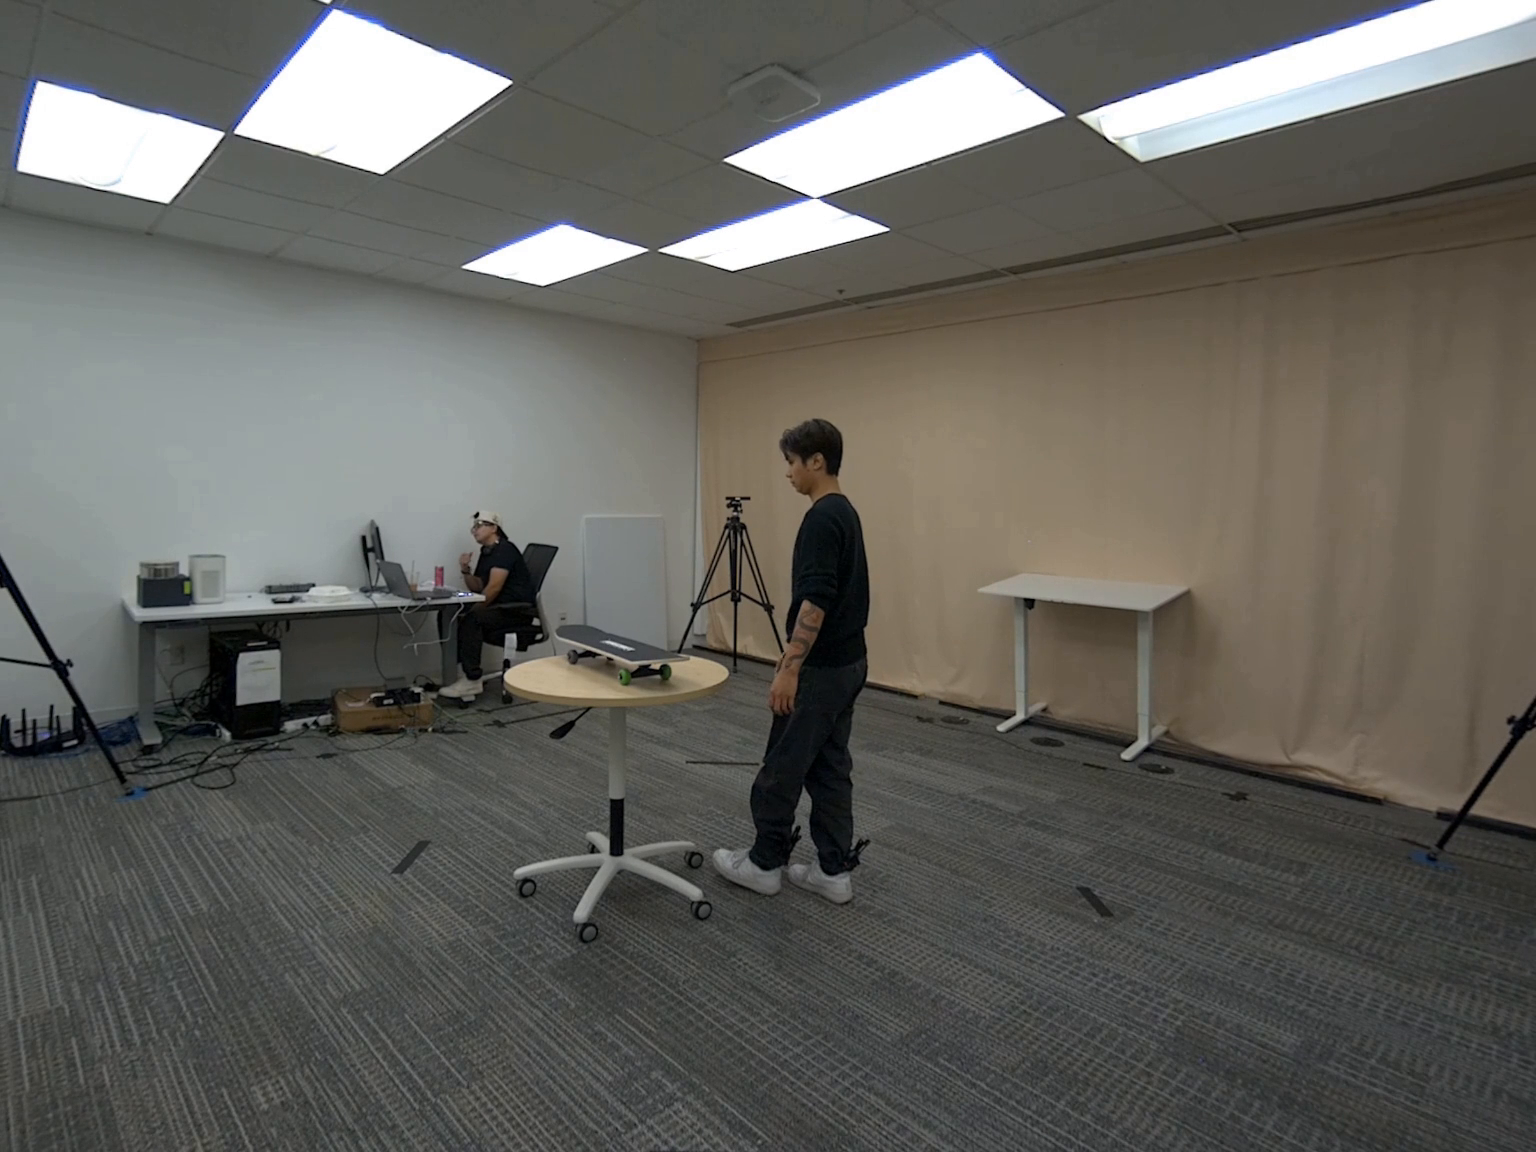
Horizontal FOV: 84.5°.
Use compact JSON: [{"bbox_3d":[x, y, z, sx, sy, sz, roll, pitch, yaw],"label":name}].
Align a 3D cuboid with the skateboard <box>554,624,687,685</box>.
[{"bbox_3d":[-0.528,0.283,2.930,0.189,0.110,0.805,-2,6,-37],"label":"skateboard"}]
